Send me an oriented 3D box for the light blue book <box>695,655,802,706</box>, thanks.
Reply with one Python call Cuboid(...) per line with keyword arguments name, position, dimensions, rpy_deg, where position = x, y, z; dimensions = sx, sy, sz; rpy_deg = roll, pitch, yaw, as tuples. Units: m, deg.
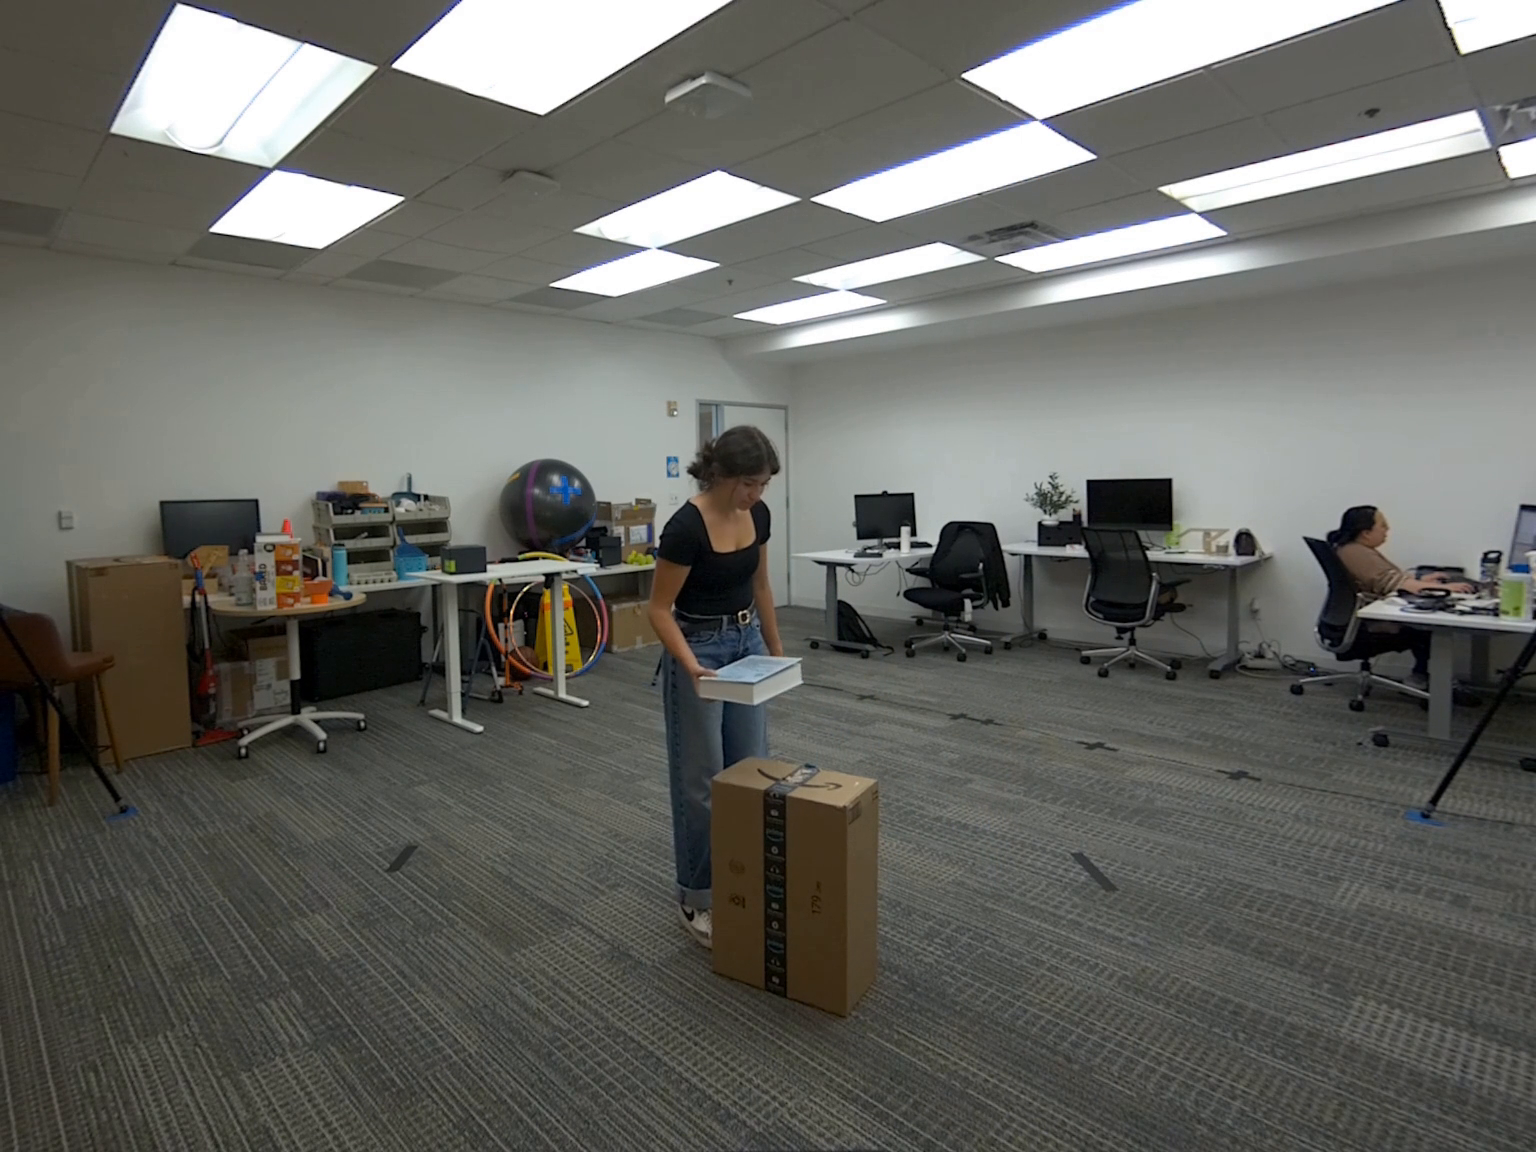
Cuboid(name="light blue book", position=(-0.052, 0.297, 2.414), dimensions=(0.196, 0.059, 0.255), rpy_deg=(1, 8, 31))
